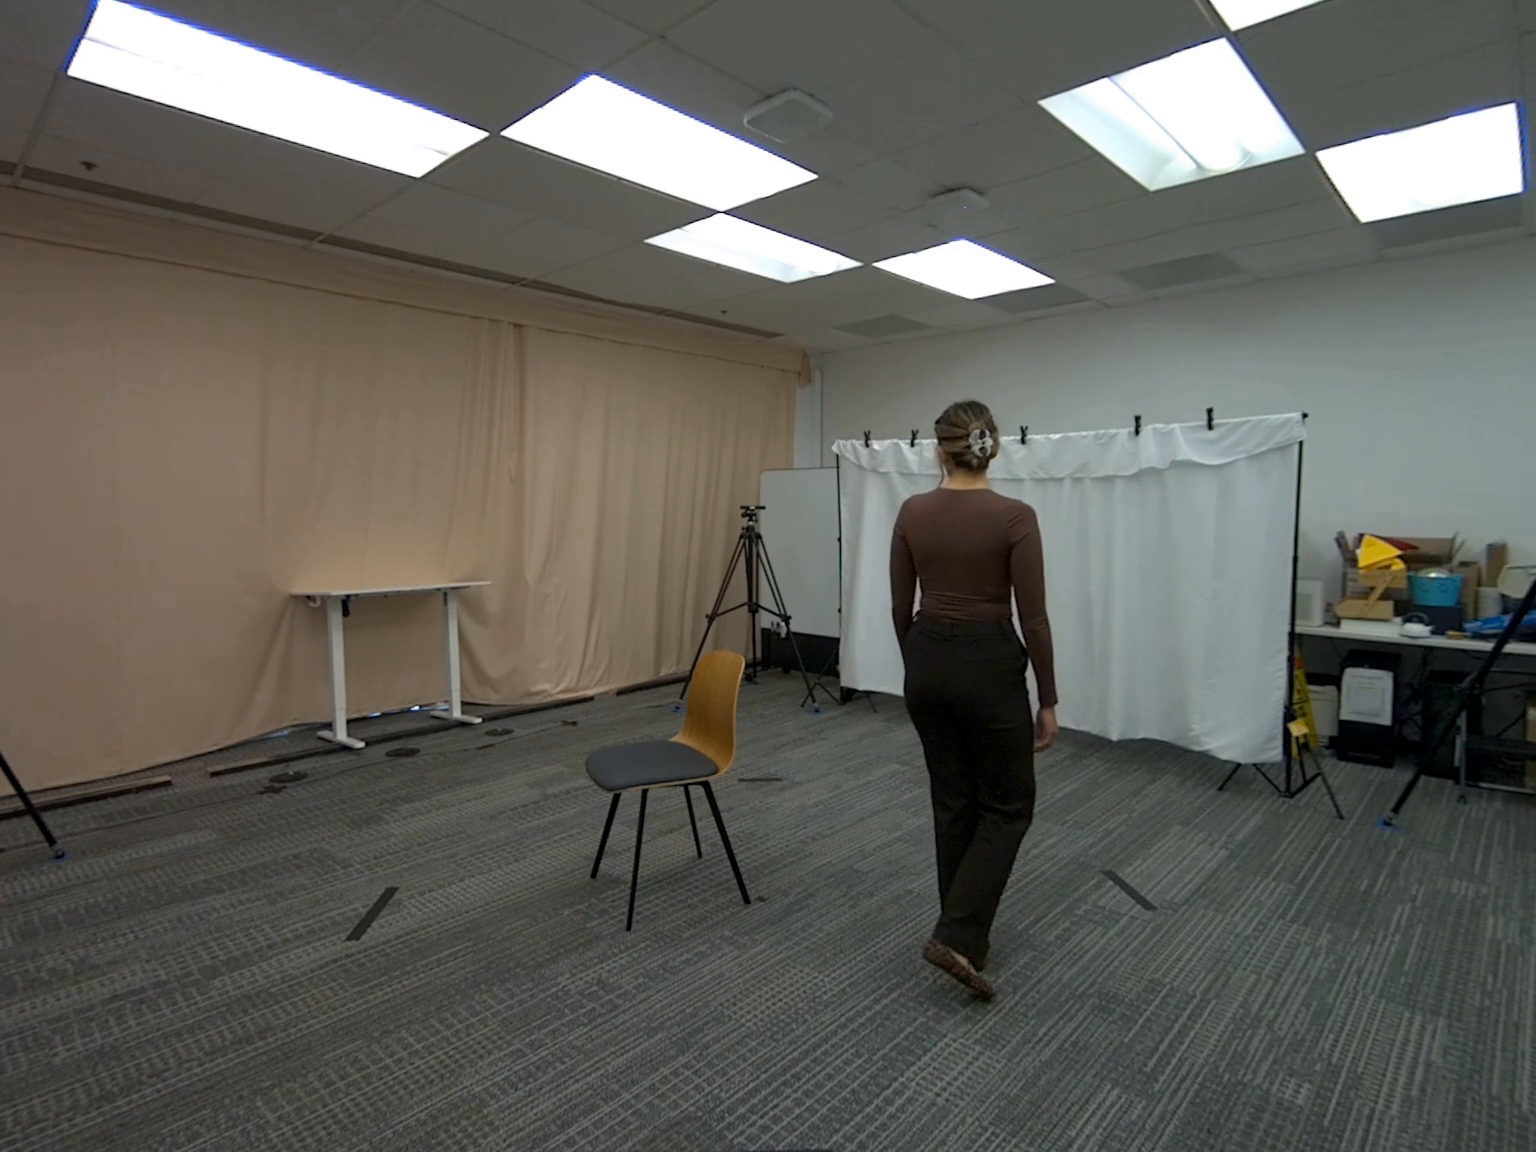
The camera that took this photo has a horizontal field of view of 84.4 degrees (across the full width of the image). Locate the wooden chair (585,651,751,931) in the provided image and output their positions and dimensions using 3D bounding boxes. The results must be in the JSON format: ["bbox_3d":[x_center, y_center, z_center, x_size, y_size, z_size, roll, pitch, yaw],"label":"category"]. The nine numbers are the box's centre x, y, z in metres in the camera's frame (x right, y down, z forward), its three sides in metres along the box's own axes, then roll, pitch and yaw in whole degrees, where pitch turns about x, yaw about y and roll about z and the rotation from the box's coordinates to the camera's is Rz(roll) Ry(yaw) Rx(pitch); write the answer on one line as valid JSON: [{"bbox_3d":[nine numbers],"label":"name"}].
[{"bbox_3d":[-0.371,0.717,3.023,0.510,0.876,0.491,3,2,-26],"label":"wooden chair"}]
